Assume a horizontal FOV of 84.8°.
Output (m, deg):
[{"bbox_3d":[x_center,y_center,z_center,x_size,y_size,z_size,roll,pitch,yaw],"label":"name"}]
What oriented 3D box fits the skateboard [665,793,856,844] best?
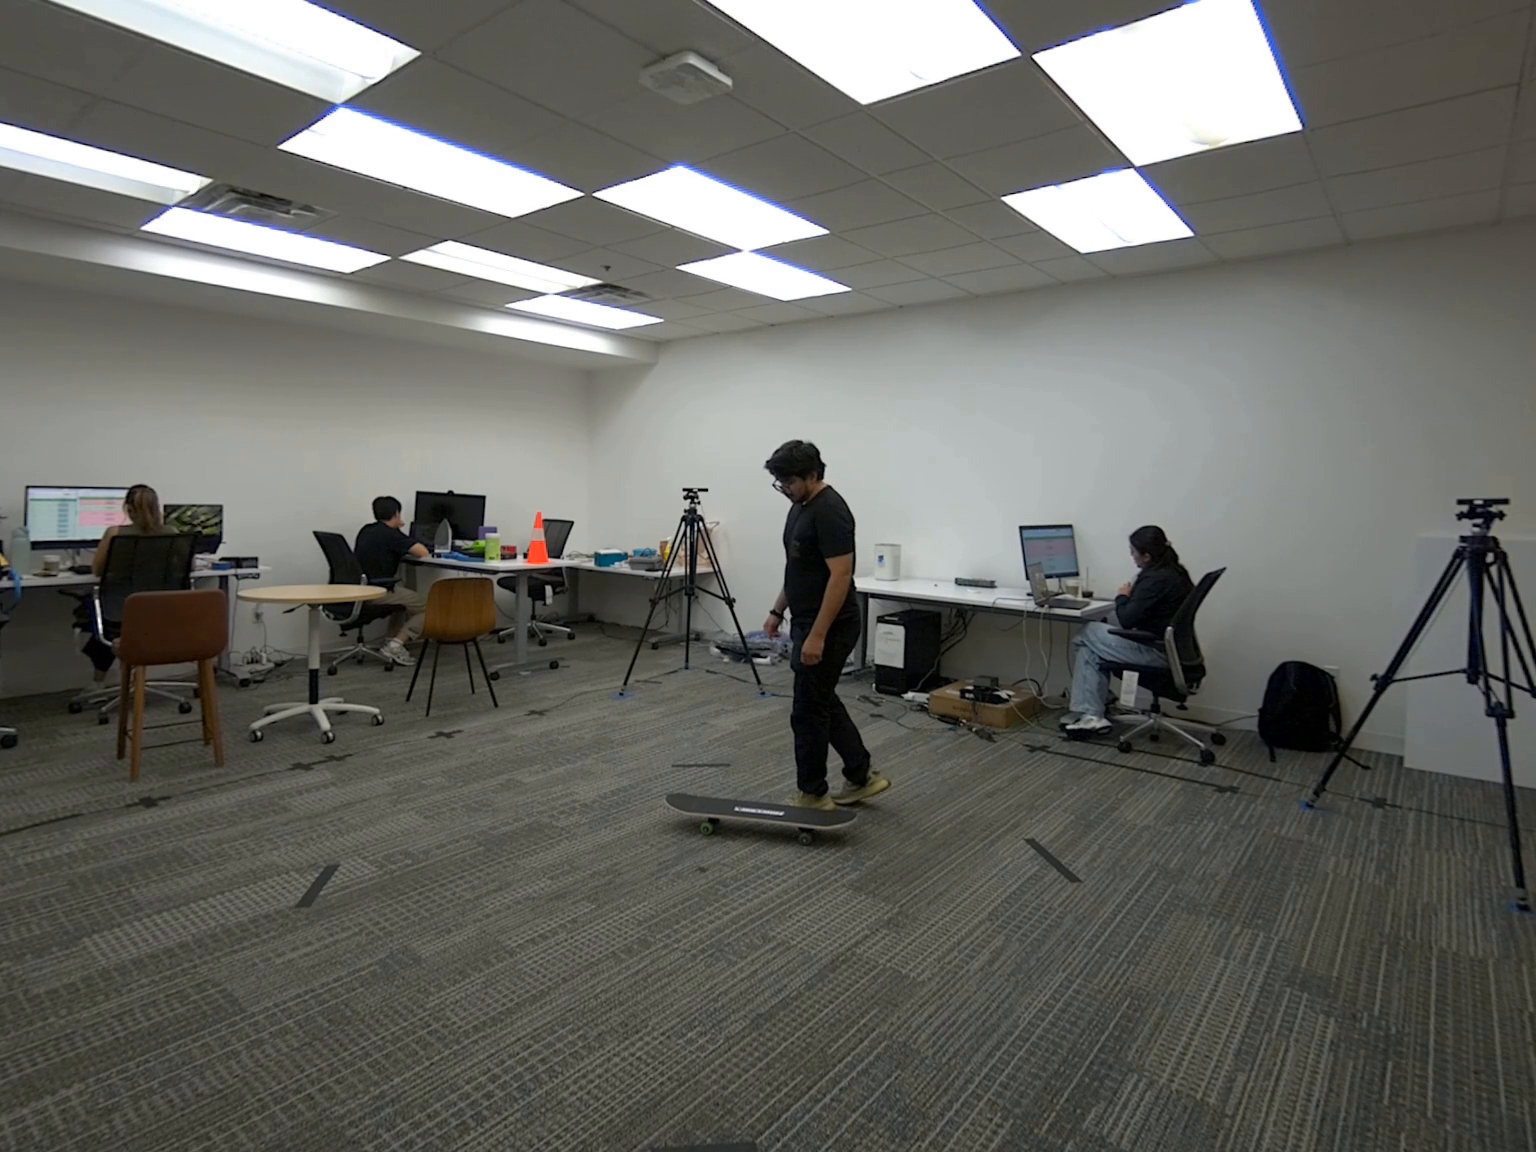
[{"bbox_3d":[-0.047,0.979,3.452,0.796,0.110,0.191,3,5,12],"label":"skateboard"}]
